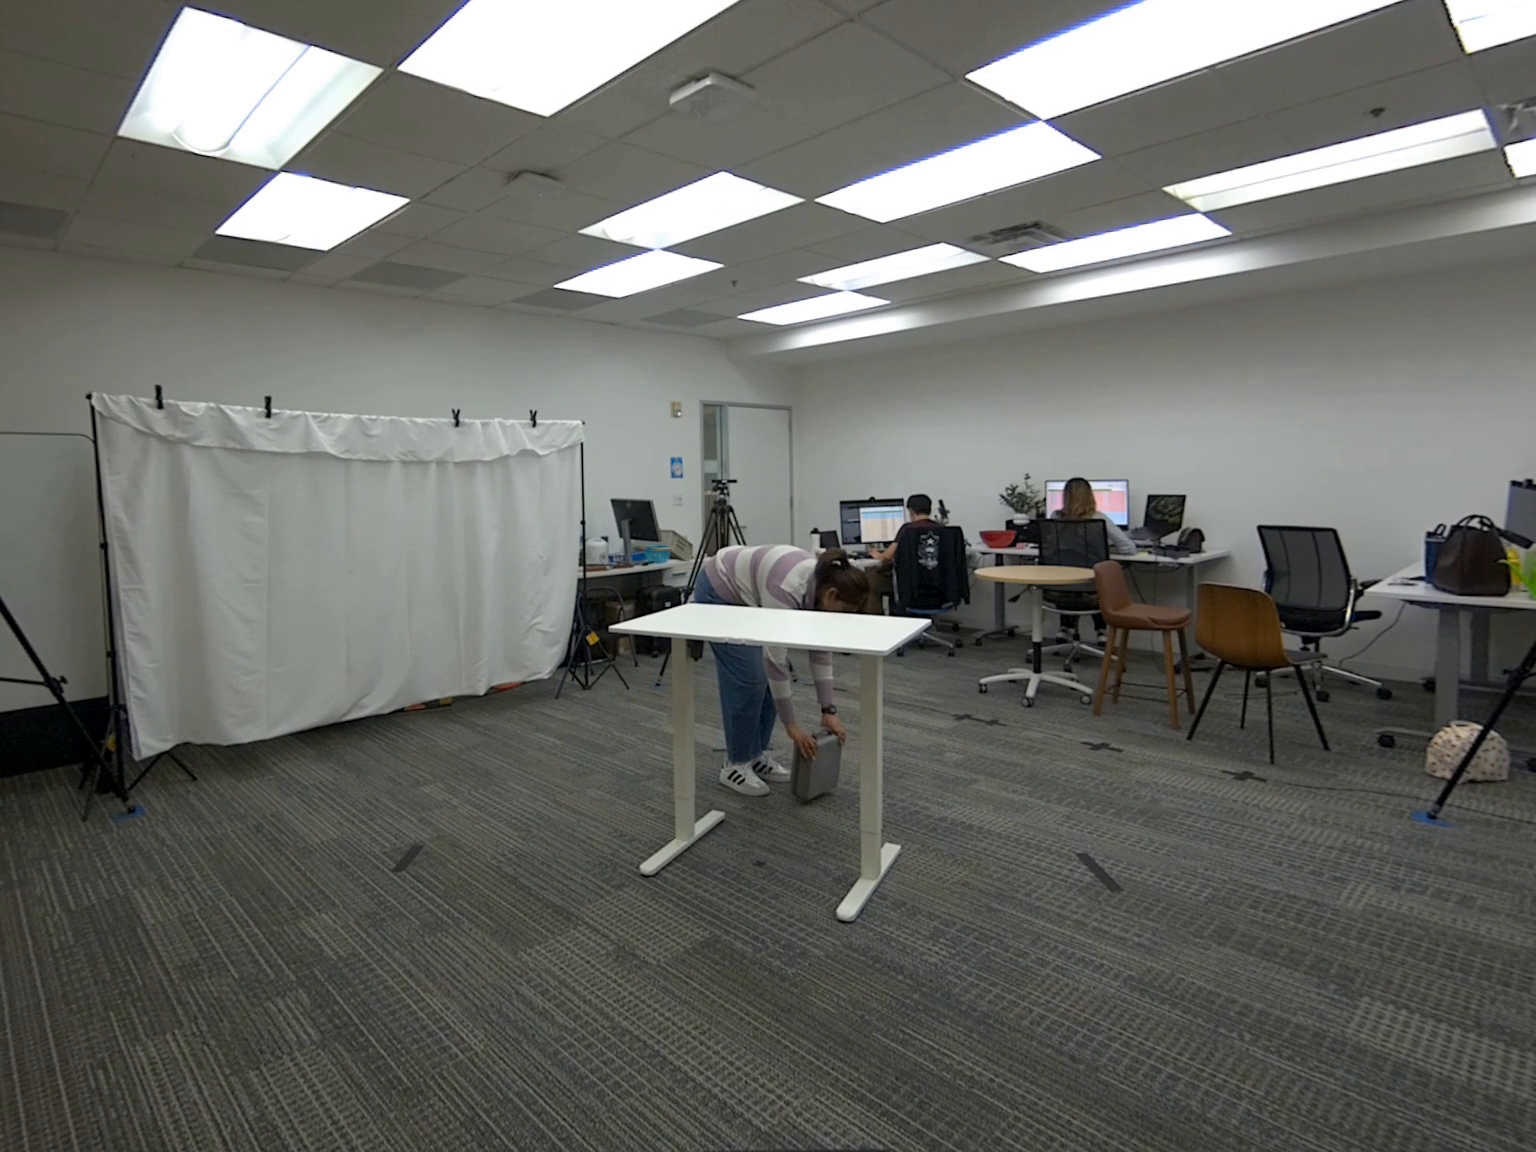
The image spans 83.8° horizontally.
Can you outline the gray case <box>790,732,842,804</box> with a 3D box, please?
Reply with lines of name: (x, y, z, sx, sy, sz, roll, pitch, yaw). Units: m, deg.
gray case: (0.212, 0.800, 3.727, 0.108, 0.259, 0.250, 10, 8, 40)
